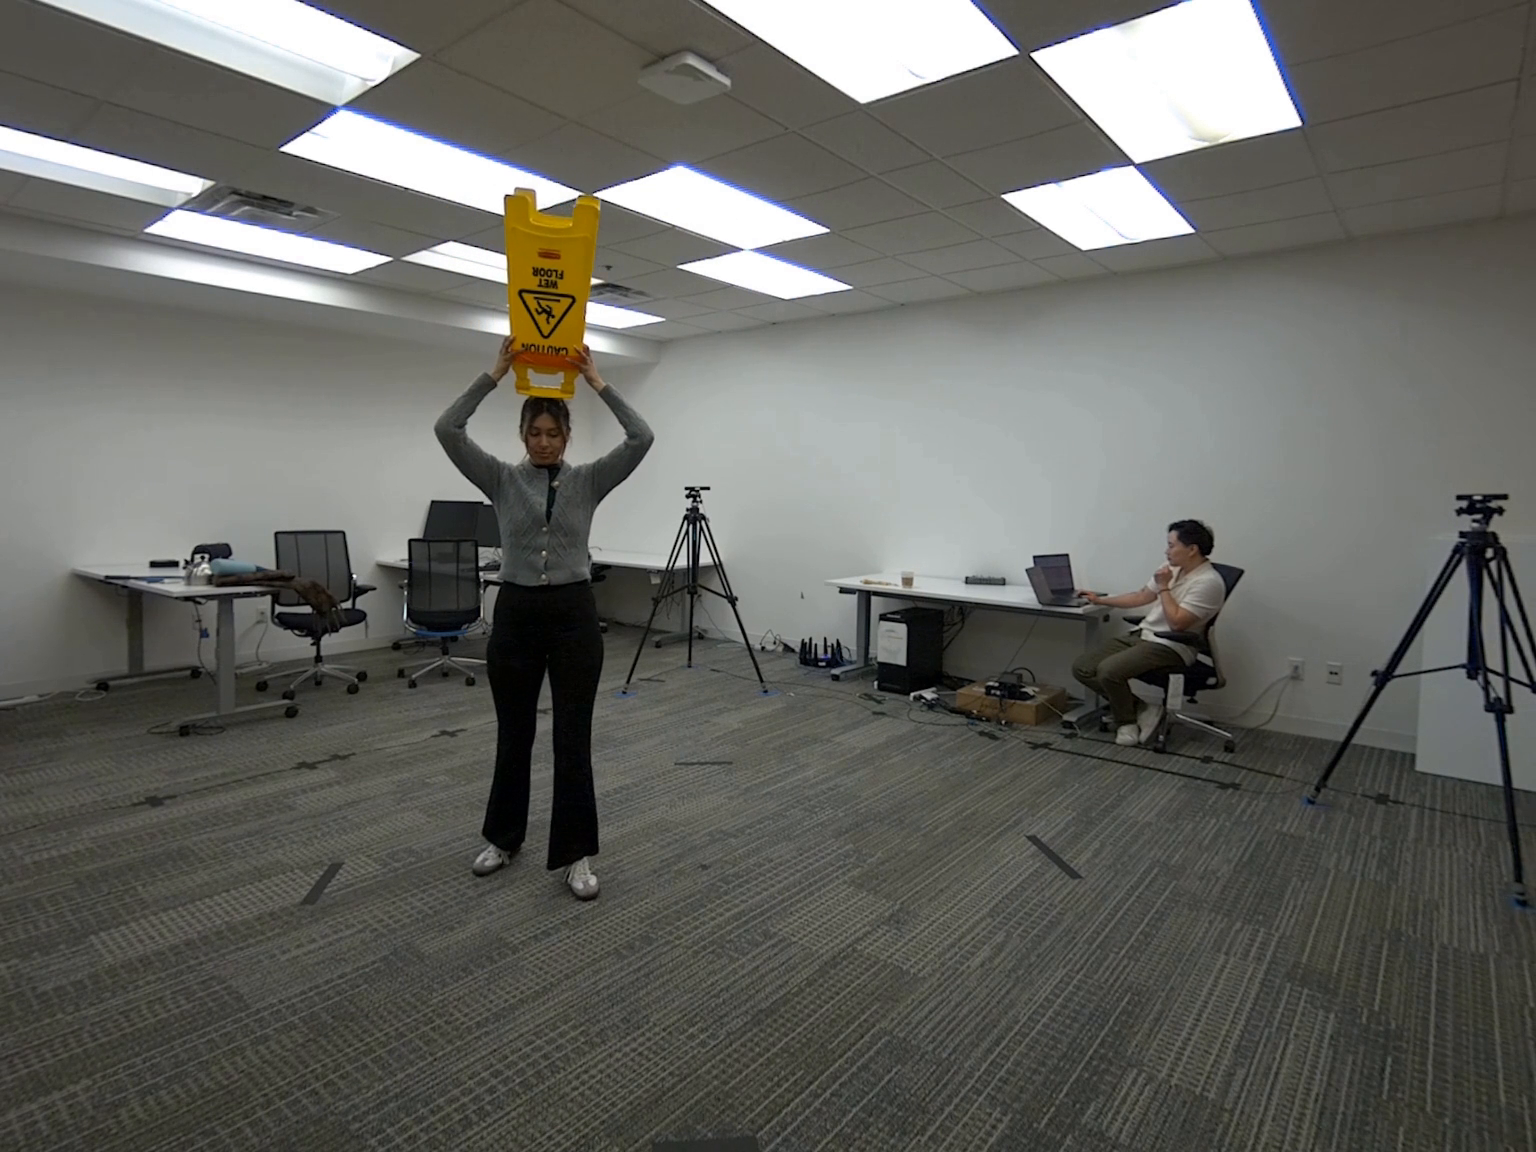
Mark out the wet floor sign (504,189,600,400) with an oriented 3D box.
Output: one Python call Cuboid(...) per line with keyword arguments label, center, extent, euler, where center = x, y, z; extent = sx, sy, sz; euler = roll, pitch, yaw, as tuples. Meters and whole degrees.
Cuboid(label="wet floor sign", center=(-0.725, -0.891, 2.757), extent=(0.279, 0.633, 0.298), euler=(2, 27, -10))
